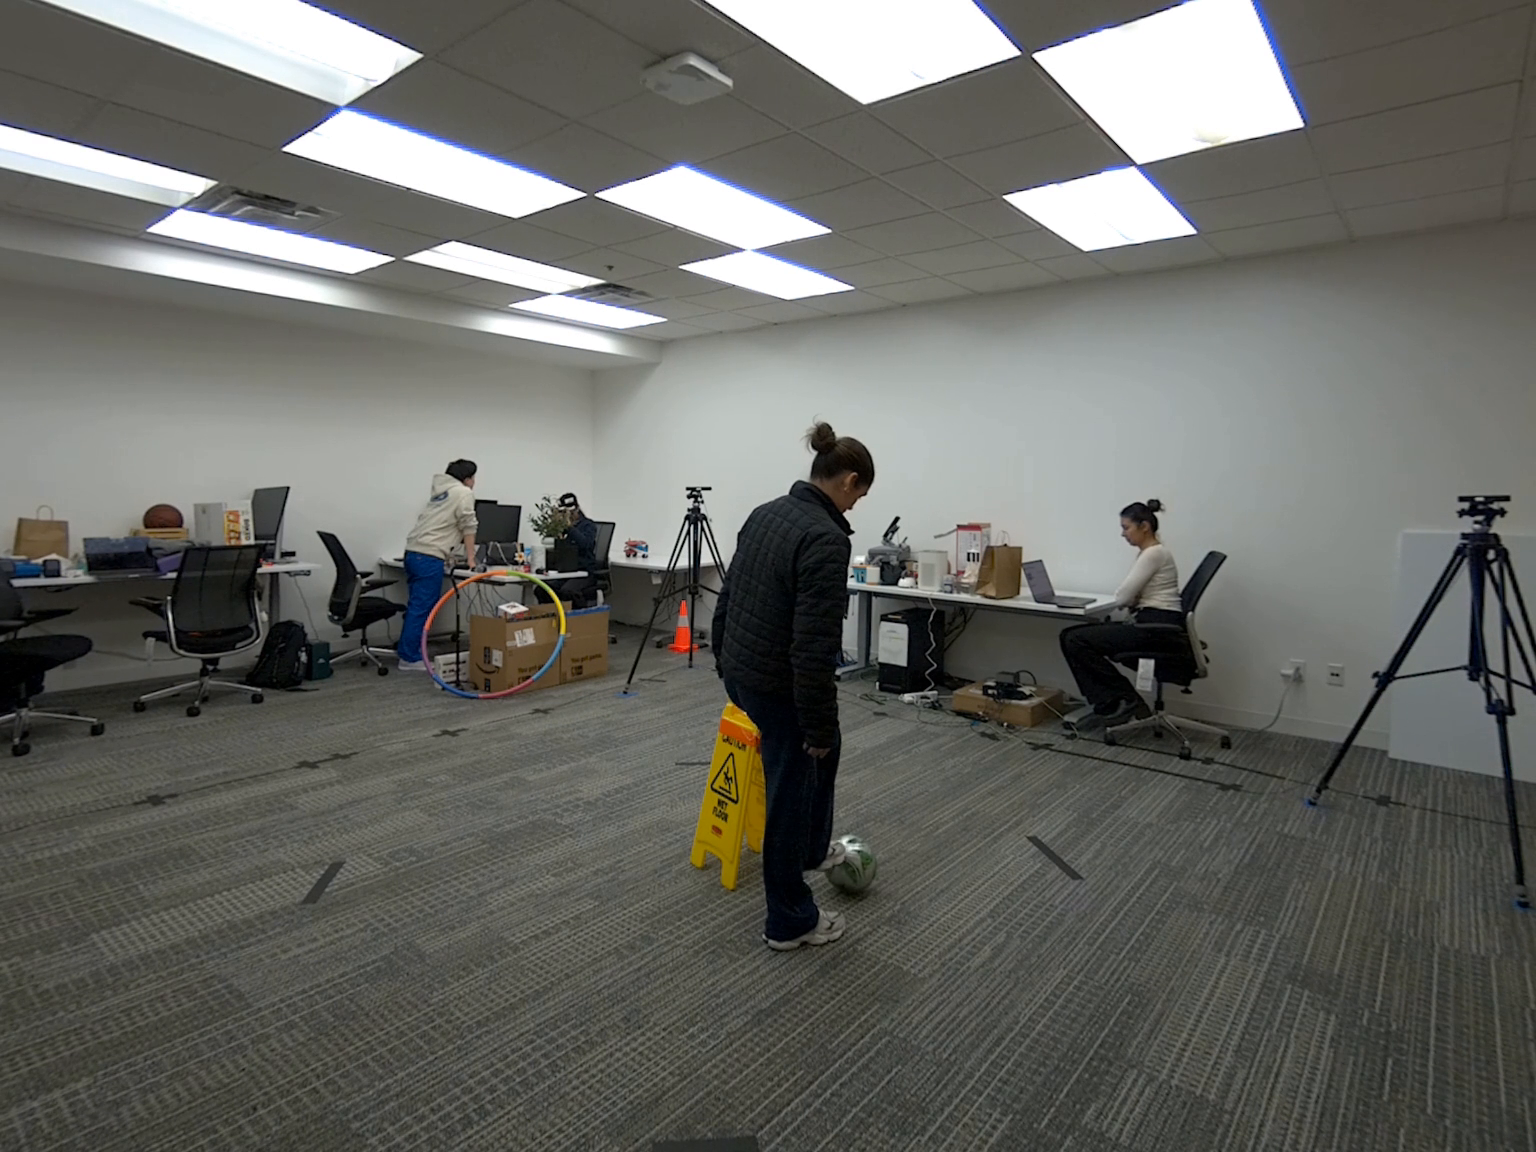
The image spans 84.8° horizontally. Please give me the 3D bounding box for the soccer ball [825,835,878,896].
[{"bbox_3d":[0.274,0.997,2.956,0.187,0.187,0.188,1,4,-2],"label":"soccer ball"}]
